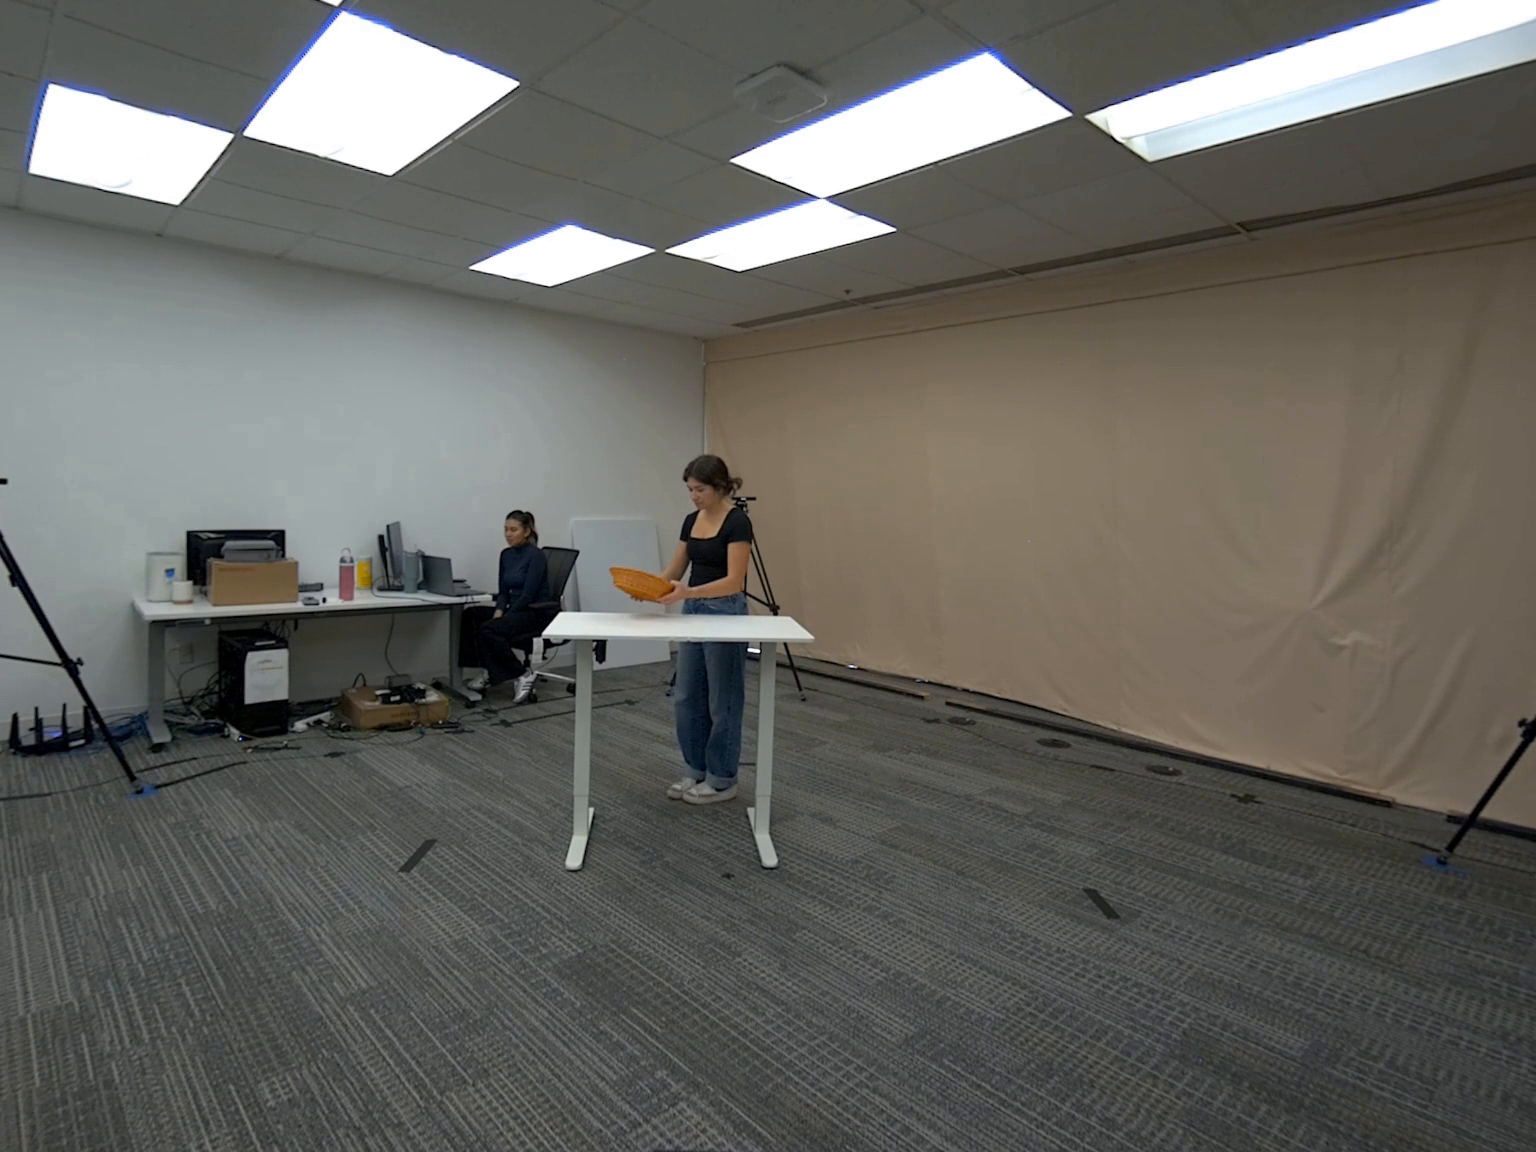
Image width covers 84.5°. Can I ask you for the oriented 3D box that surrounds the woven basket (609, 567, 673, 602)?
[{"bbox_3d":[-0.545,0.050,3.576,0.257,0.074,0.341,6,-16,24],"label":"woven basket"}]
